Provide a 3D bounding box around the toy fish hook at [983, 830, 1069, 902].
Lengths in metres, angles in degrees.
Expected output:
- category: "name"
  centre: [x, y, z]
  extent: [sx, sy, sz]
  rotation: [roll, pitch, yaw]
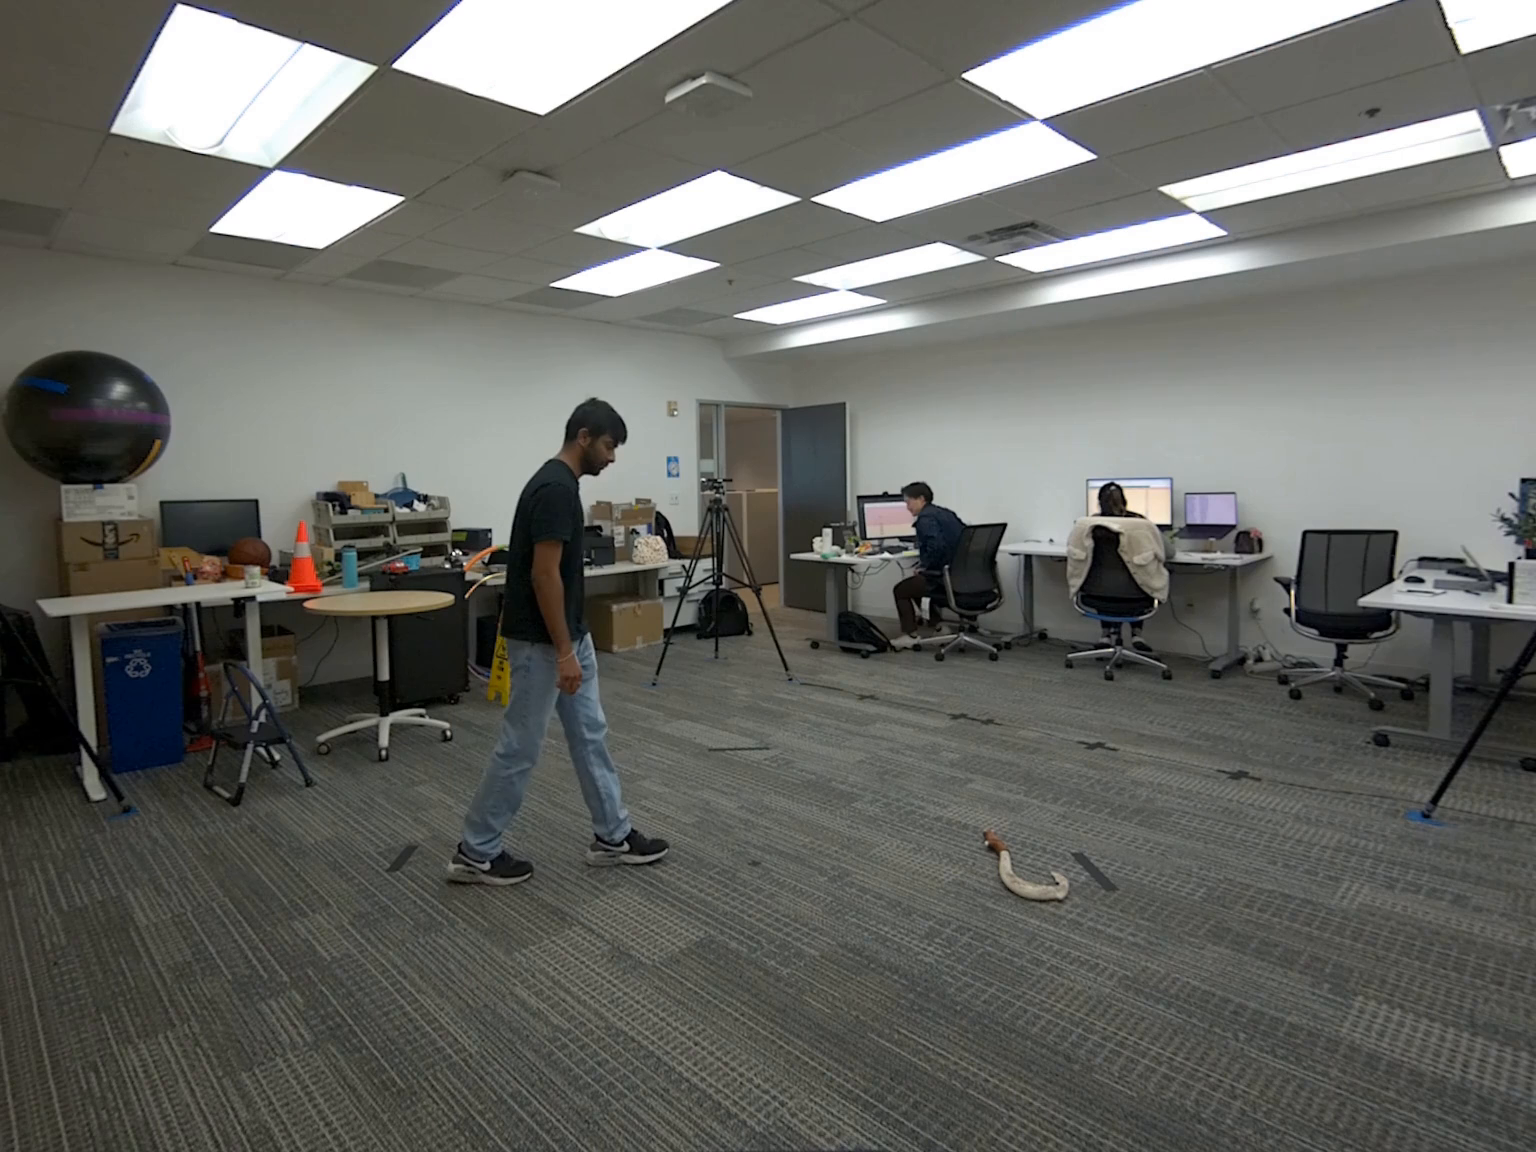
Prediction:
- category: "toy fish hook"
  centre: [0.905, 1.020, 3.038]
  extent: [0.225, 0.048, 0.509]
  rotation: [6, 7, -1]
